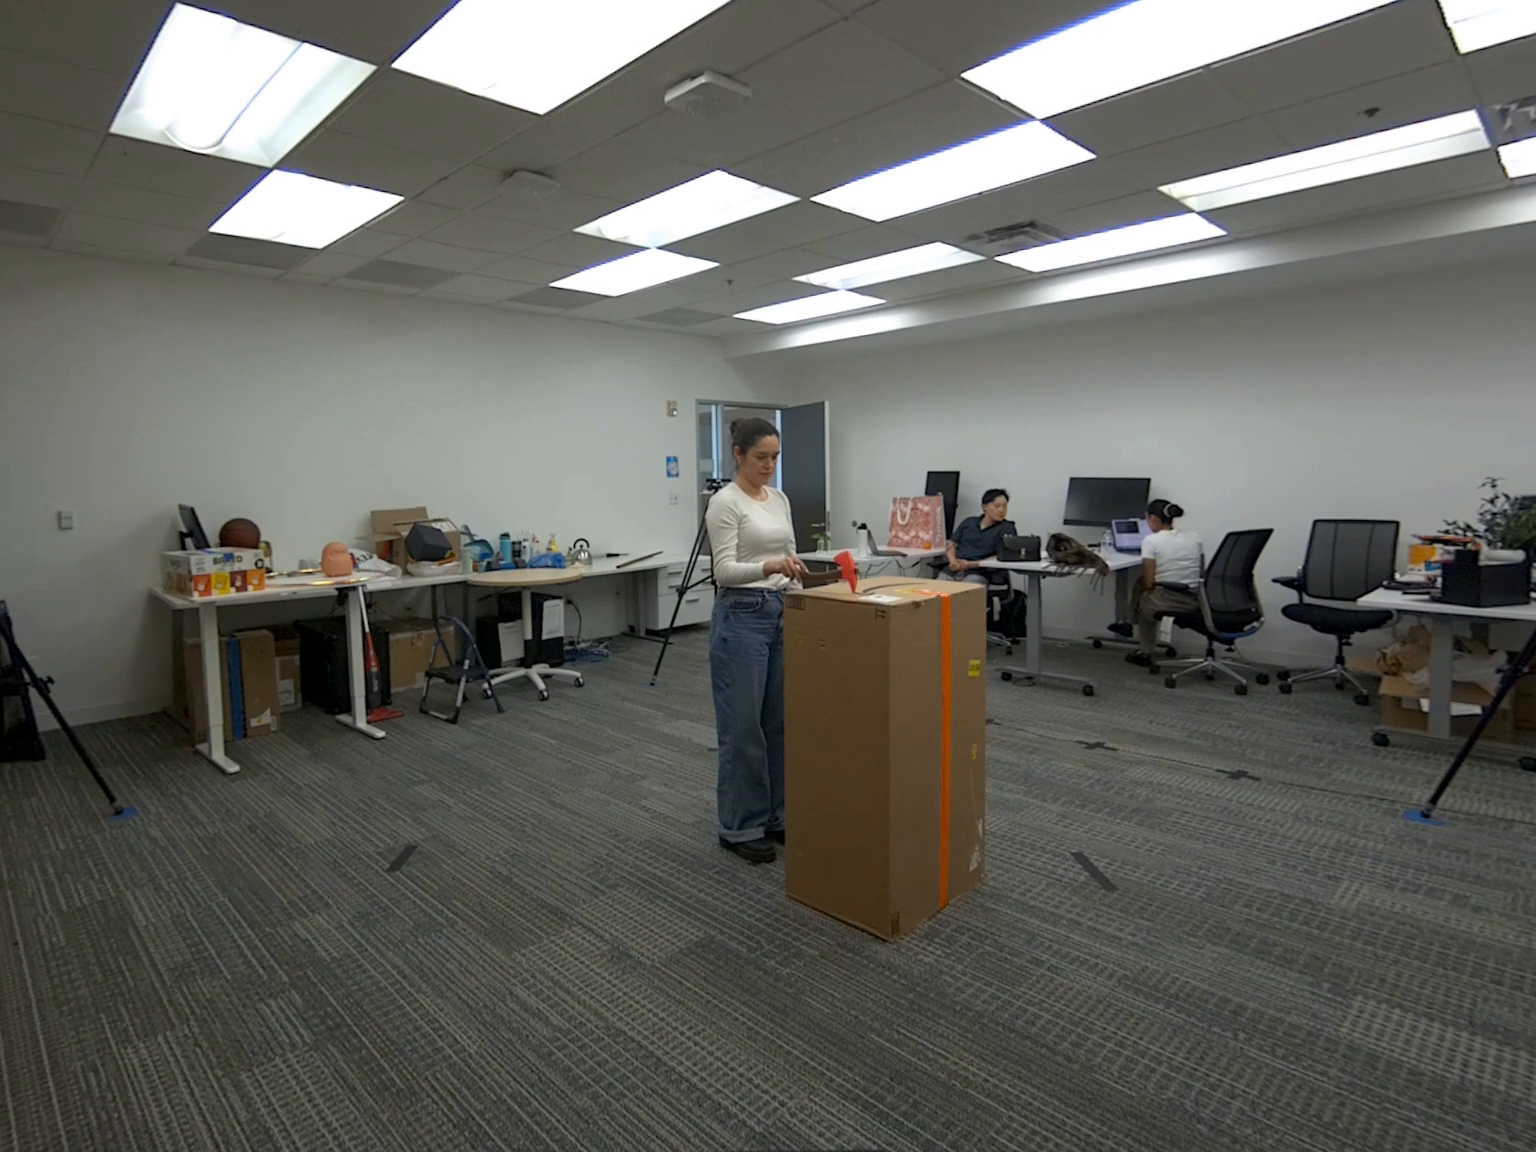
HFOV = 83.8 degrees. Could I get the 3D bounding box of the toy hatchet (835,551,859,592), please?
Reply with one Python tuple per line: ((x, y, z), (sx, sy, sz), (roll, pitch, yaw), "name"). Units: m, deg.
((0.188, -0.038, 2.784), (0.279, 0.129, 0.029), (13, 16, 39), "toy hatchet")
